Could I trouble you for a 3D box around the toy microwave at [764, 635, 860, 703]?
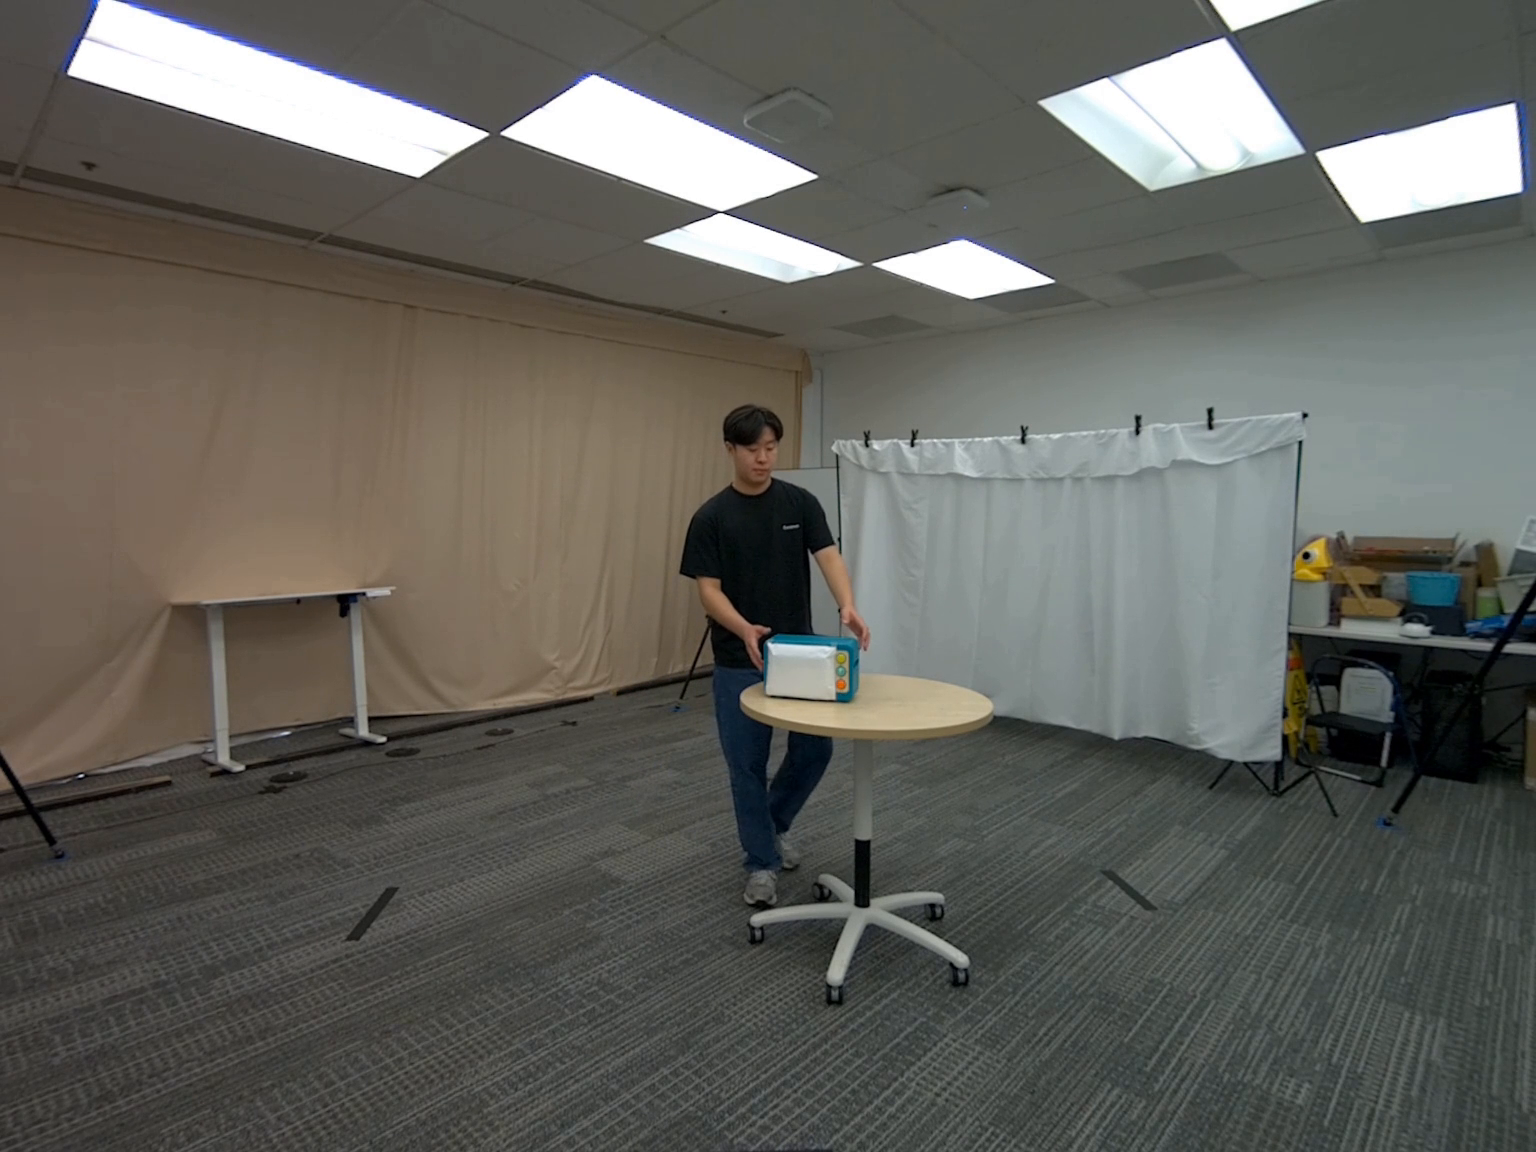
[{"bbox_3d":[0.138,0.283,2.615,0.291,0.184,0.150,1,3,17],"label":"toy microwave"}]
